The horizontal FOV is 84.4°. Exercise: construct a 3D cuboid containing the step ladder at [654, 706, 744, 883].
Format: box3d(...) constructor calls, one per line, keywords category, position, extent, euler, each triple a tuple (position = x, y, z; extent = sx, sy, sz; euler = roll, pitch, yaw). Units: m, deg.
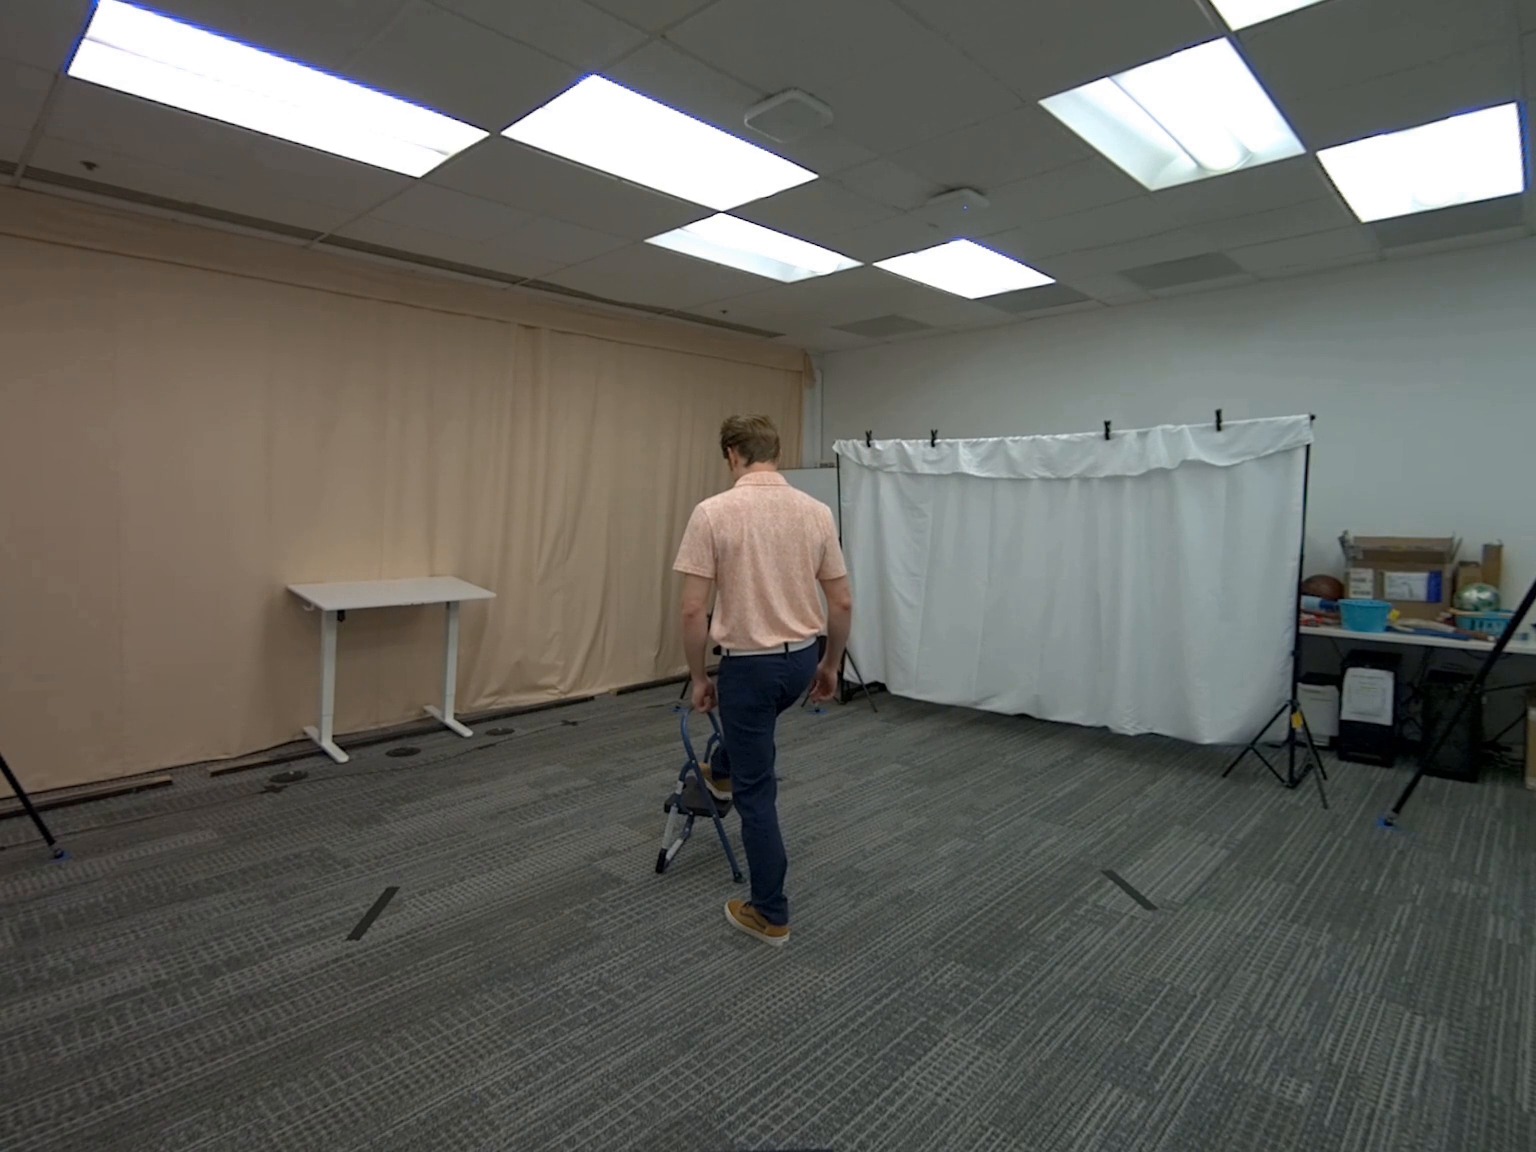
box3d(category="step ladder", position=(-0.229, 0.813, 3.337), extent=(0.354, 0.605, 0.426), euler=(0, 3, 11))
